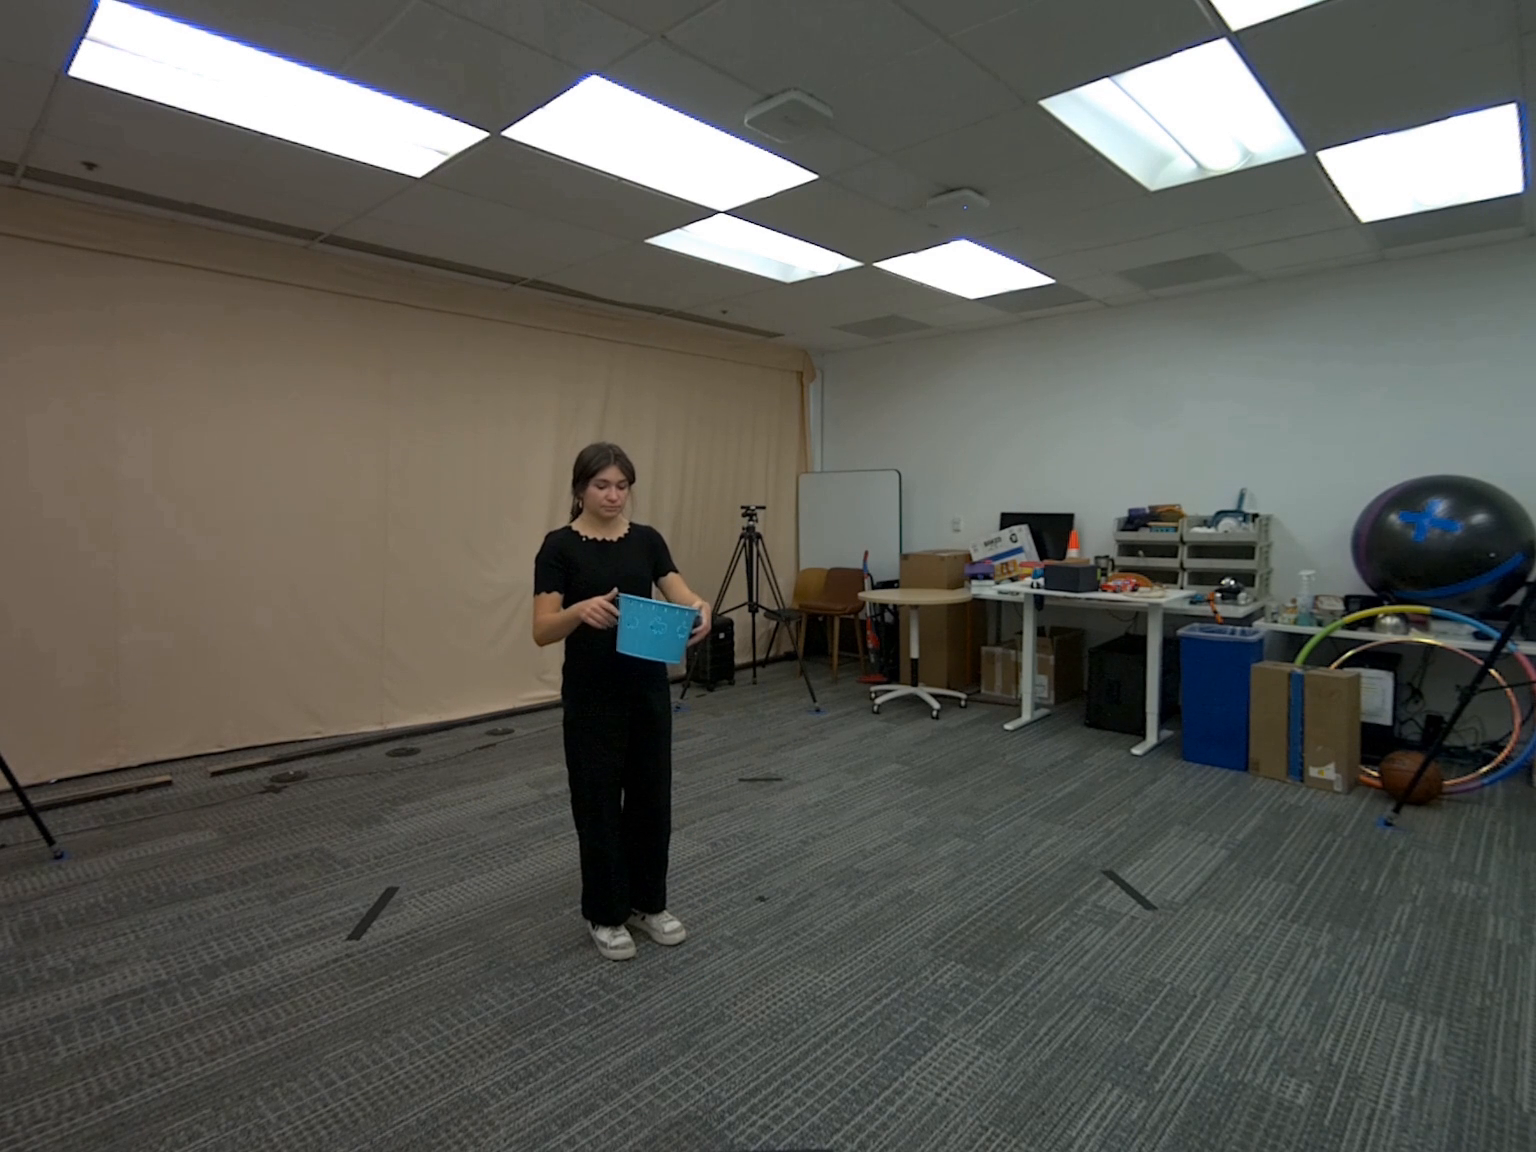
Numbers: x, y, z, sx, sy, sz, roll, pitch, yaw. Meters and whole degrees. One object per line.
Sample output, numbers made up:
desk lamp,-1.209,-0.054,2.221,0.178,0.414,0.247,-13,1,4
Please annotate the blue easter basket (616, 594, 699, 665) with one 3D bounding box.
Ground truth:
blue easter basket,-0.306,0.148,2.307,0.243,0.156,0.243,10,-2,-1
